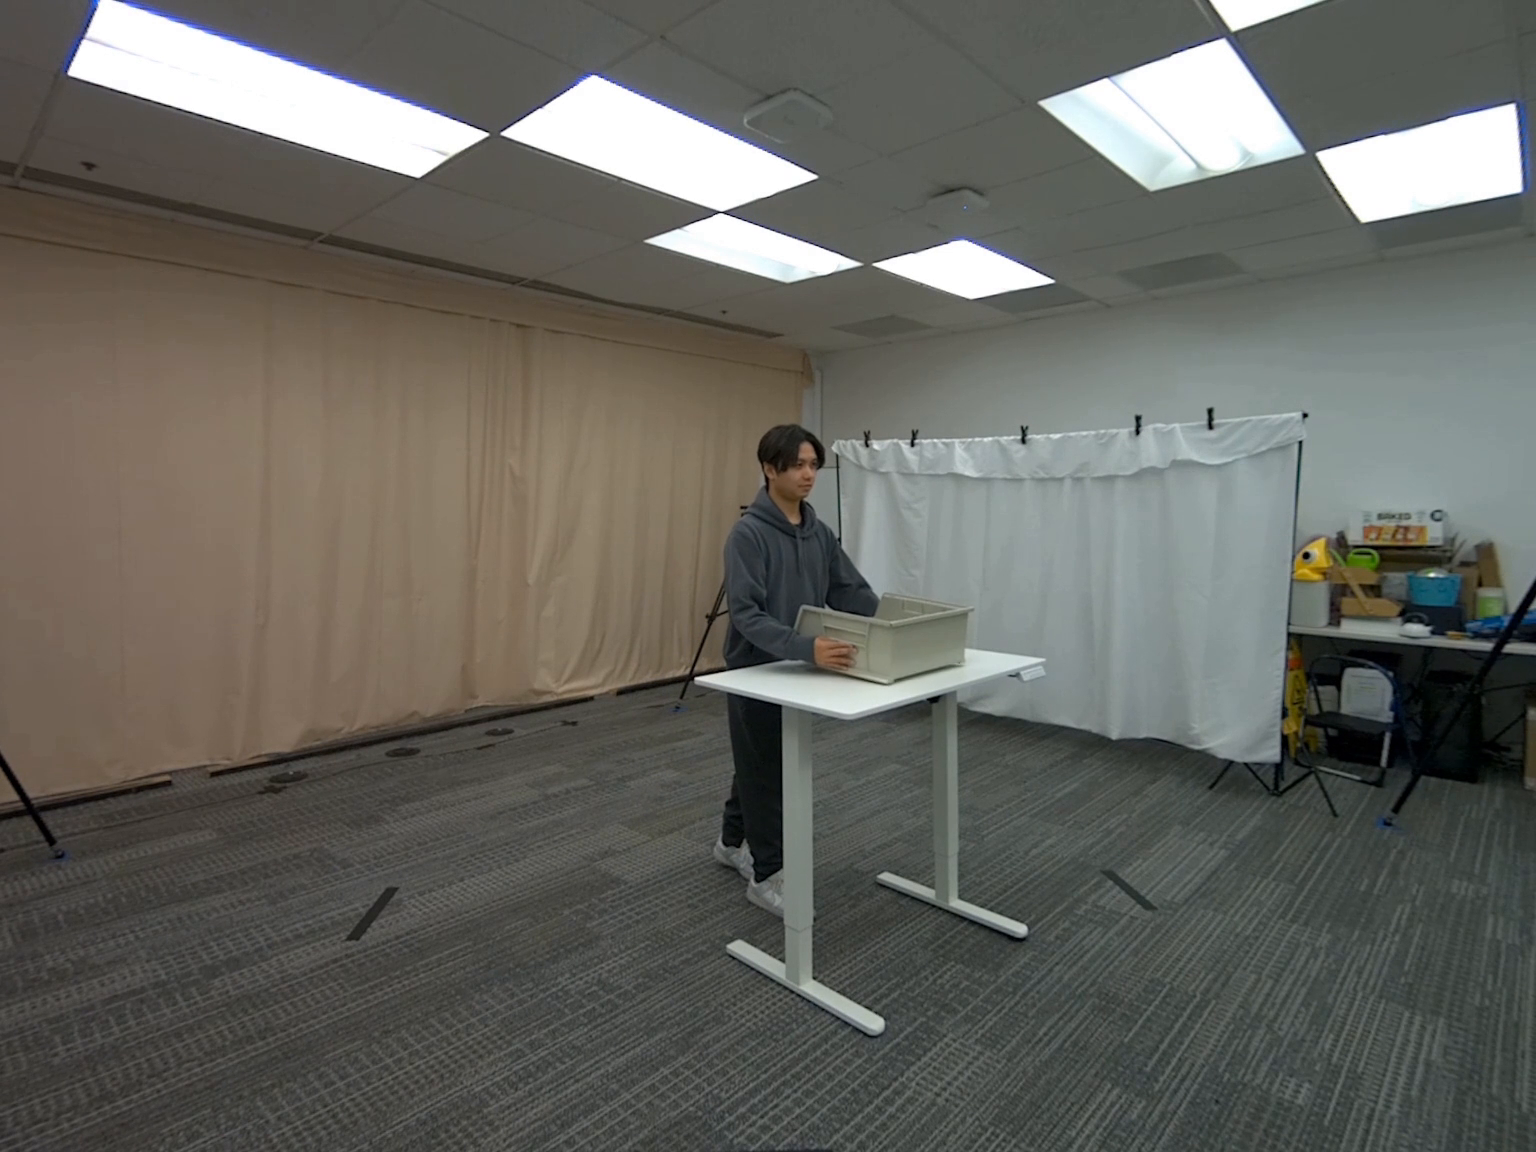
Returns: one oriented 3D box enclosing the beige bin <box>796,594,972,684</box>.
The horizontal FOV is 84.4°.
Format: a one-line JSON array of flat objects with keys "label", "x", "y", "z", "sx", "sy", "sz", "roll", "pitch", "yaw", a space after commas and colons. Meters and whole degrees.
[{"label": "beige bin", "x": 0.364, "y": 0.182, "z": 2.620, "sx": 0.409, "sy": 0.188, "sz": 0.390, "roll": -6, "pitch": 11, "yaw": -44}]
